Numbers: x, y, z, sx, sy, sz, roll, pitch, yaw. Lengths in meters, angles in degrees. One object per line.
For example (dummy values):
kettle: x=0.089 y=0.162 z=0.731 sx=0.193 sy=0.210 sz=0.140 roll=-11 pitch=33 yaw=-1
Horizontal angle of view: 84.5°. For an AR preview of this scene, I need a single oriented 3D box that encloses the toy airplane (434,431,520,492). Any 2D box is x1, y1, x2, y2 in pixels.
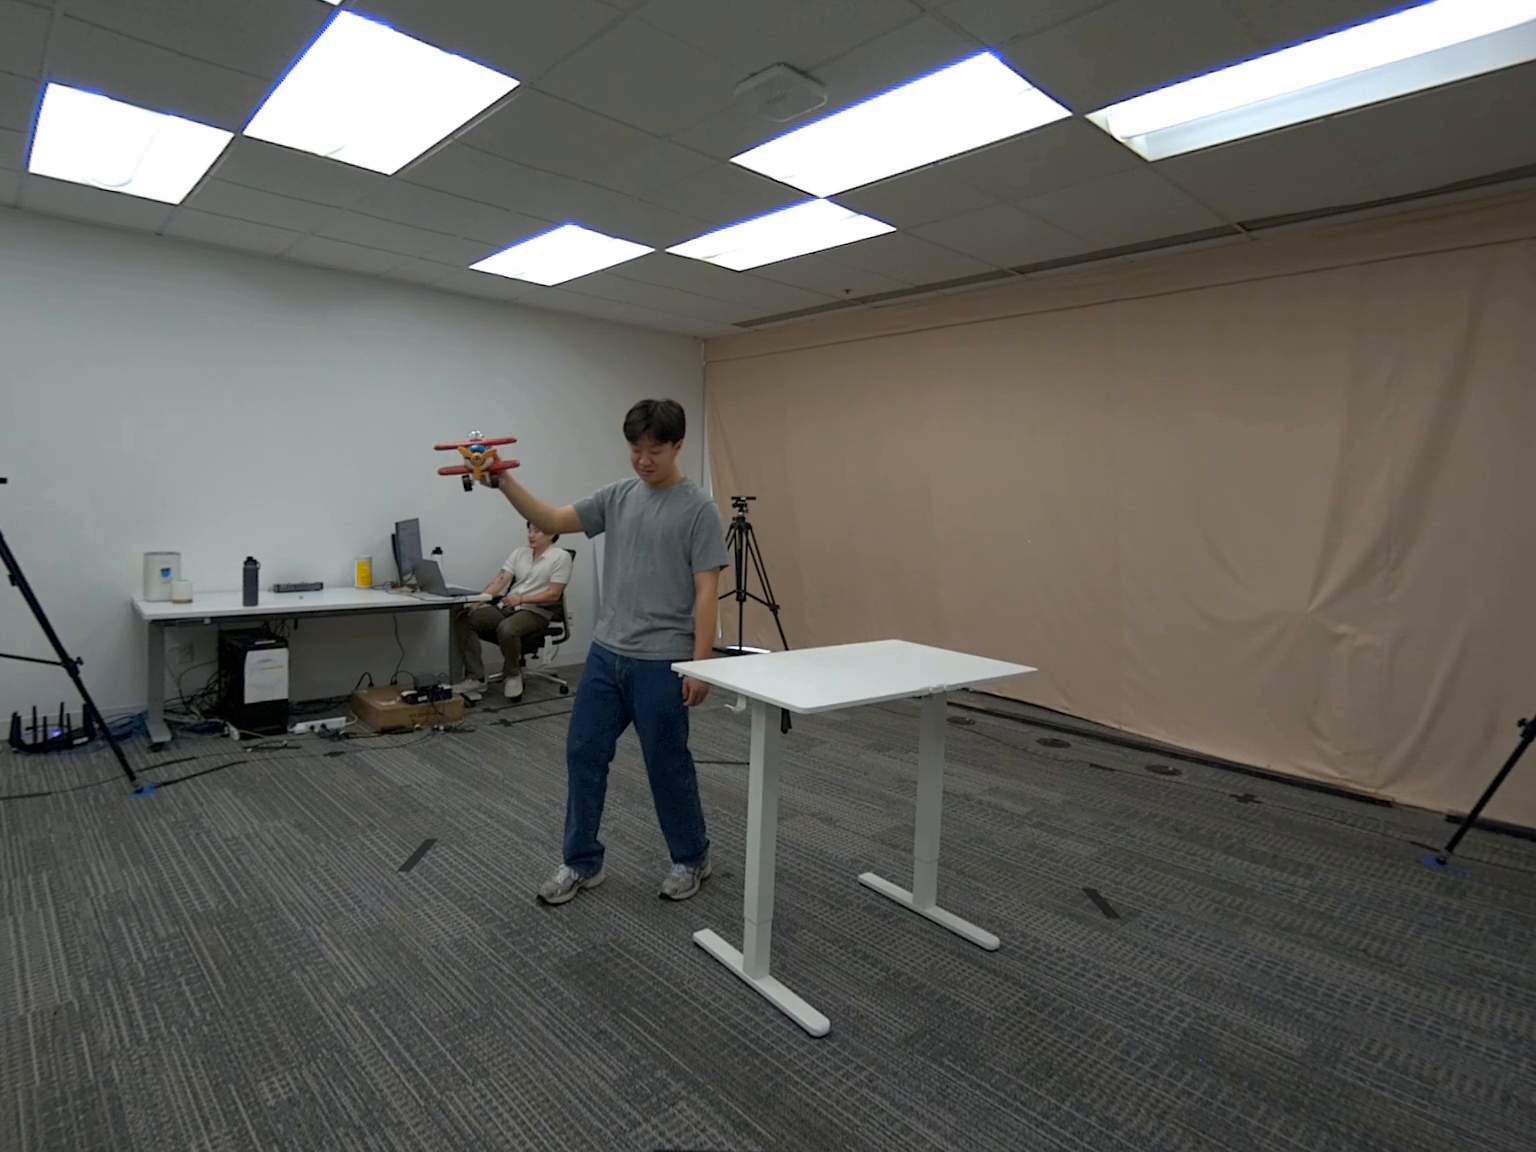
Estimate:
toy airplane: x=-0.954 y=-0.383 z=2.713 sx=0.267 sy=0.153 sz=0.248 roll=26 pitch=38 yaw=36
